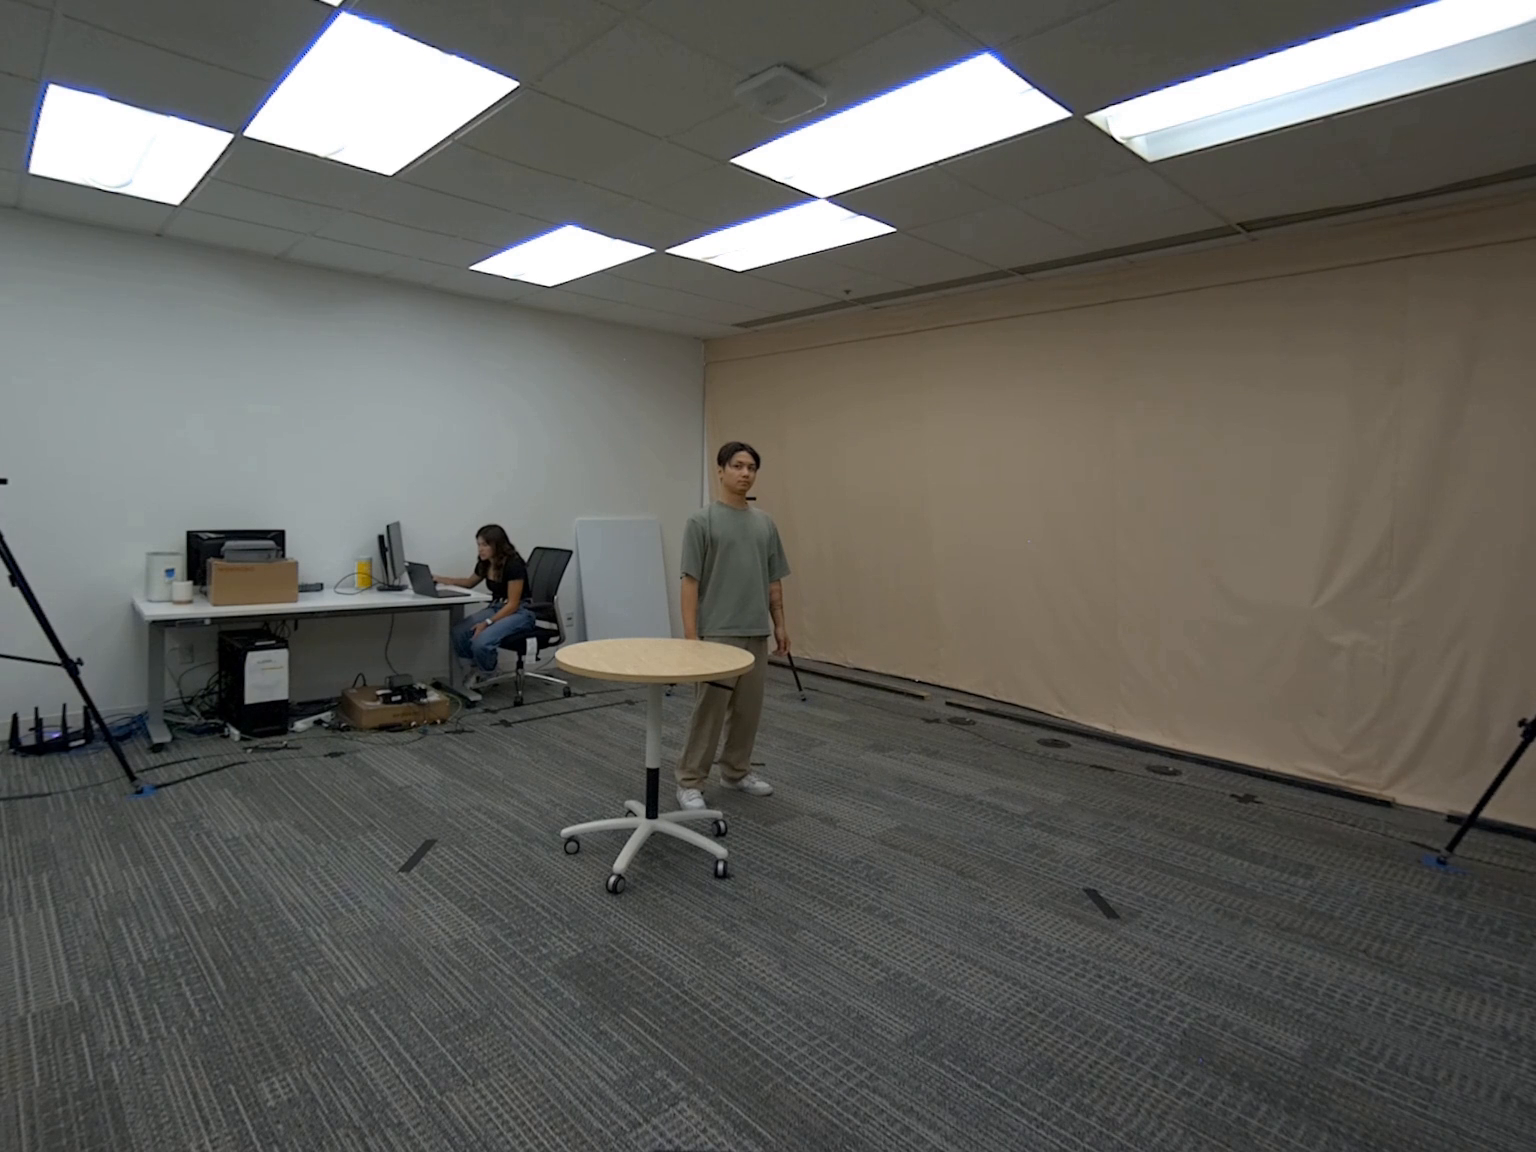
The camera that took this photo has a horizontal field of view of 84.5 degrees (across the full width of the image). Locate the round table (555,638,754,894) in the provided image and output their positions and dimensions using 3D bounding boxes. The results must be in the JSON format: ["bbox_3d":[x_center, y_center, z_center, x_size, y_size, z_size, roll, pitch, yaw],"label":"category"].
[{"bbox_3d":[-0.463,0.700,3.272,0.763,0.792,0.766,1,4,-1],"label":"round table"}]
